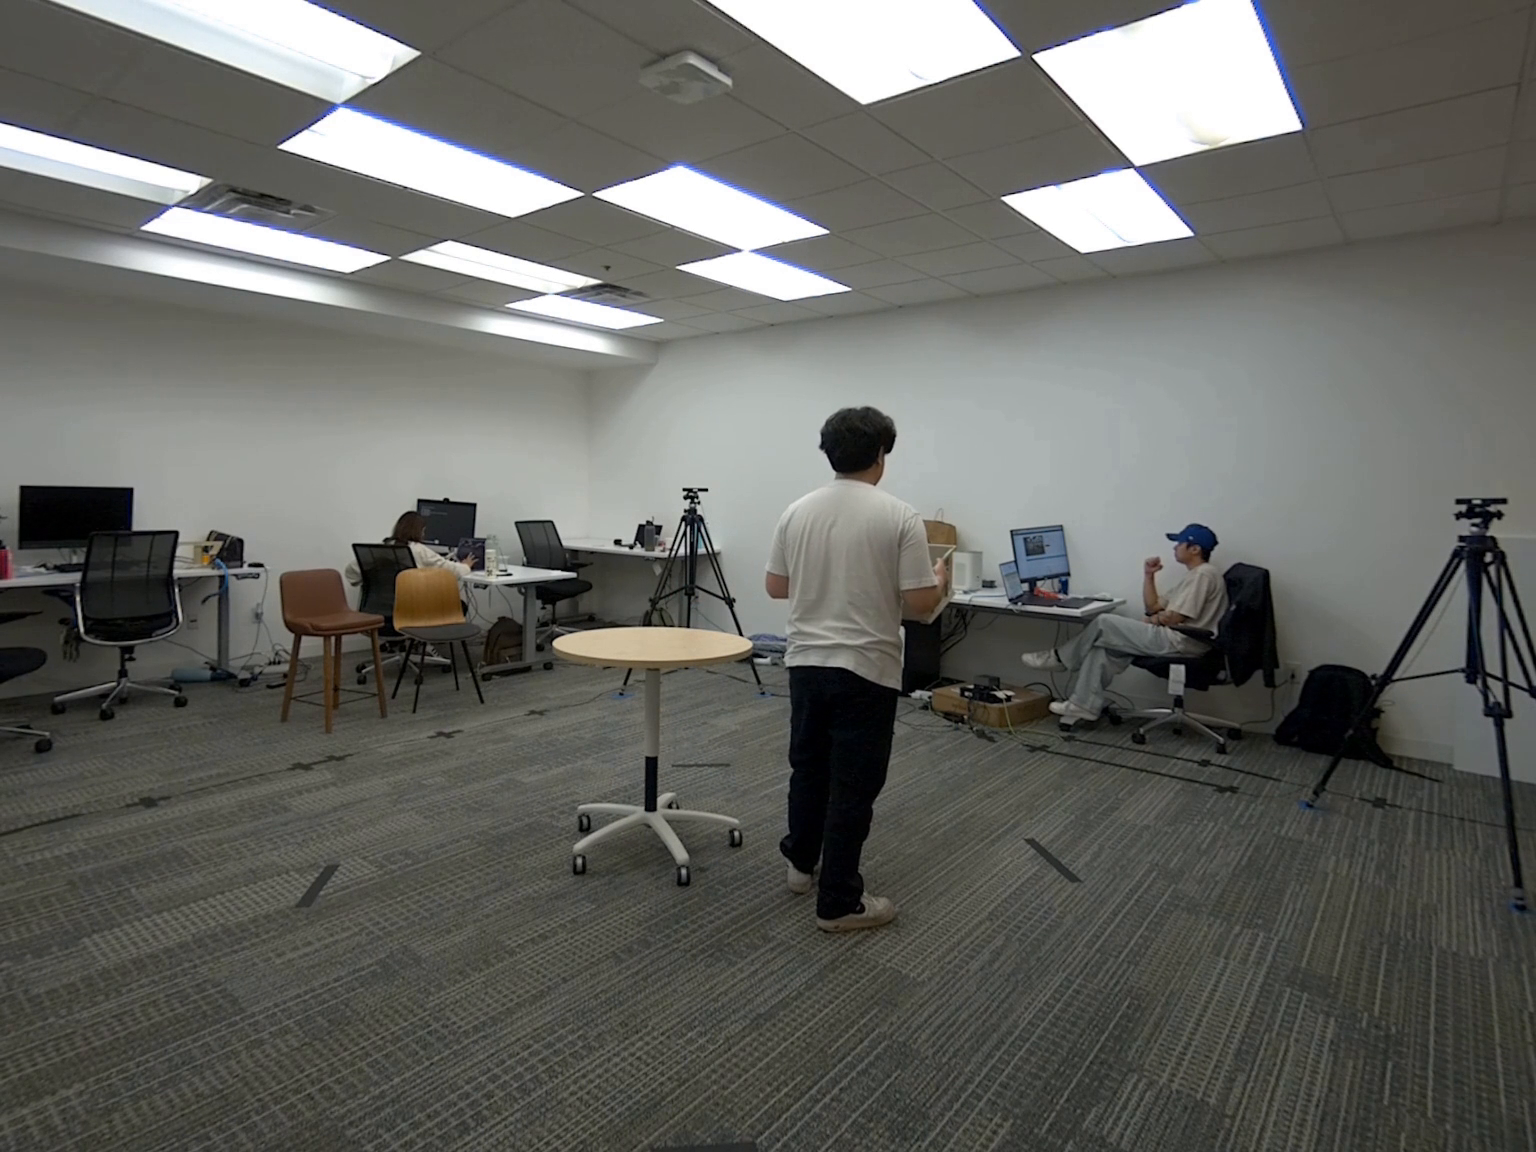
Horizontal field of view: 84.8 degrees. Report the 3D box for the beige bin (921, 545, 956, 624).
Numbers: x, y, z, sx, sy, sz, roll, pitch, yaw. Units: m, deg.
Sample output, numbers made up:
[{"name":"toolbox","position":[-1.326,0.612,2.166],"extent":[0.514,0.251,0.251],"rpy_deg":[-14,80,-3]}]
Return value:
[{"name":"beige bin","position":[0.411,0.016,3.037],"extent":[0.435,0.186,0.372],"rpy_deg":[3,17,30]}]
